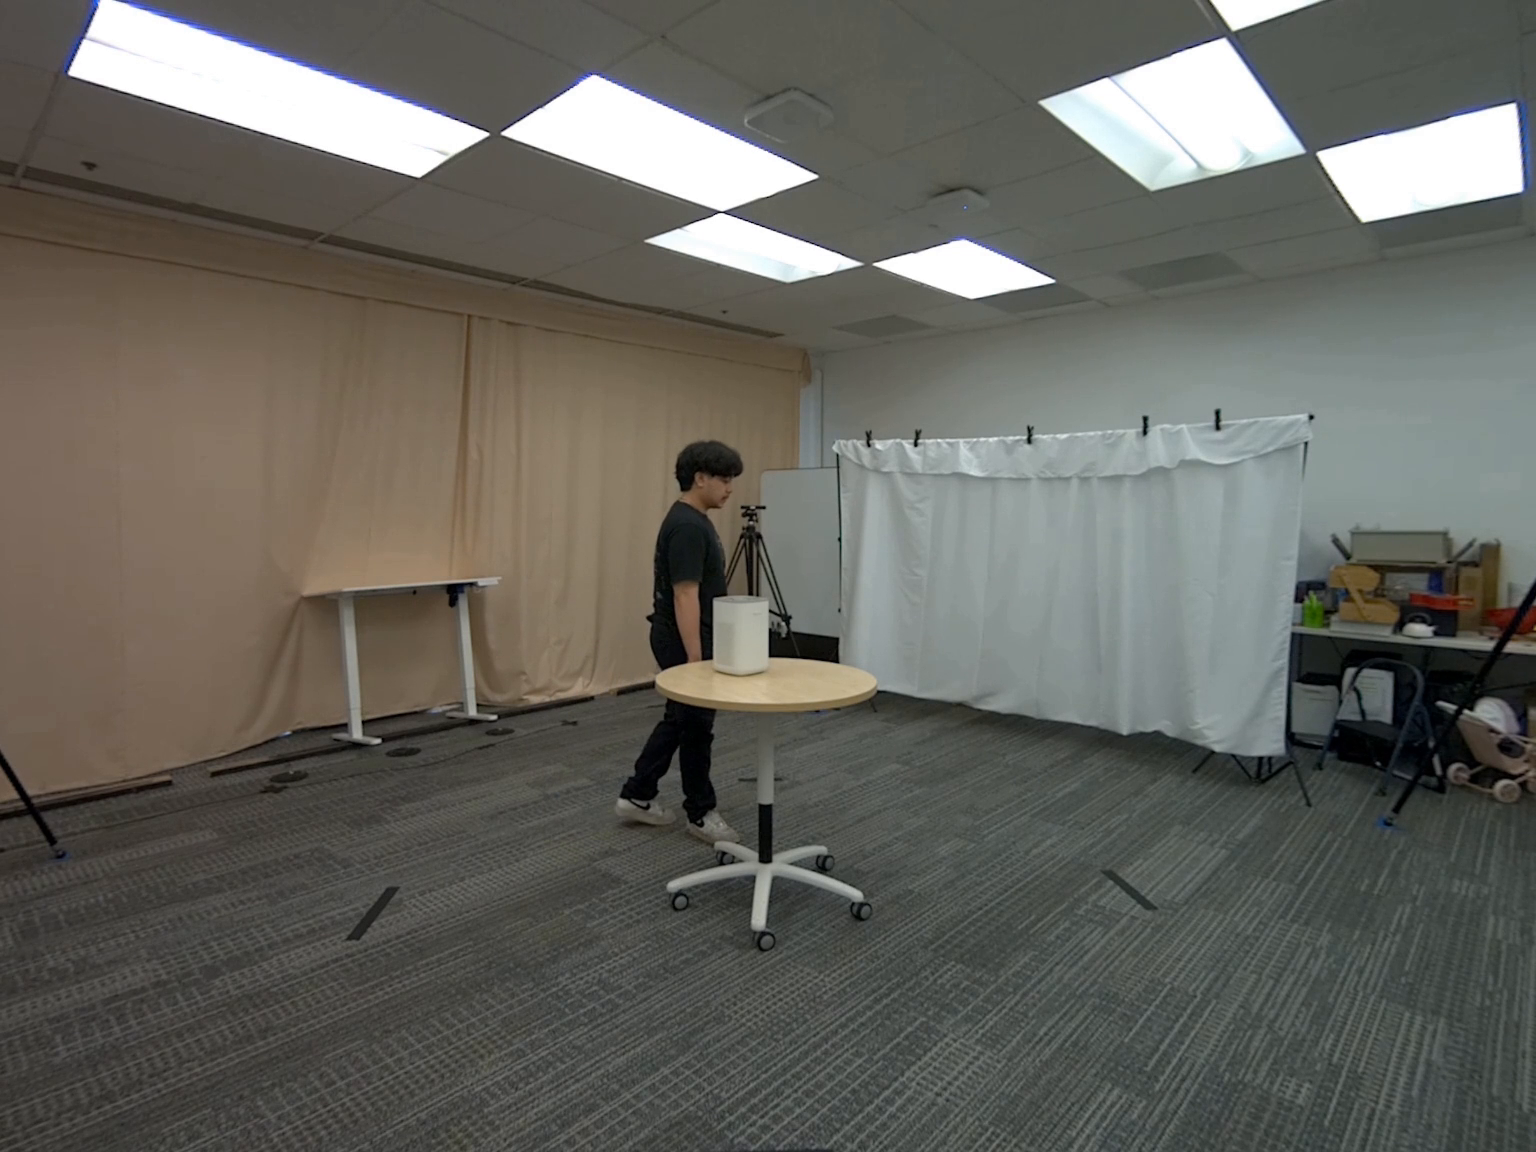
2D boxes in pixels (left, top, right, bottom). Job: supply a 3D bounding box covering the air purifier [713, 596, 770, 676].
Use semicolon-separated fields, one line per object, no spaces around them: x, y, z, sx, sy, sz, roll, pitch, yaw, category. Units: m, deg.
-0.097;0.209;3.030;0.177;0.264;0.166;5;6;44;air purifier
